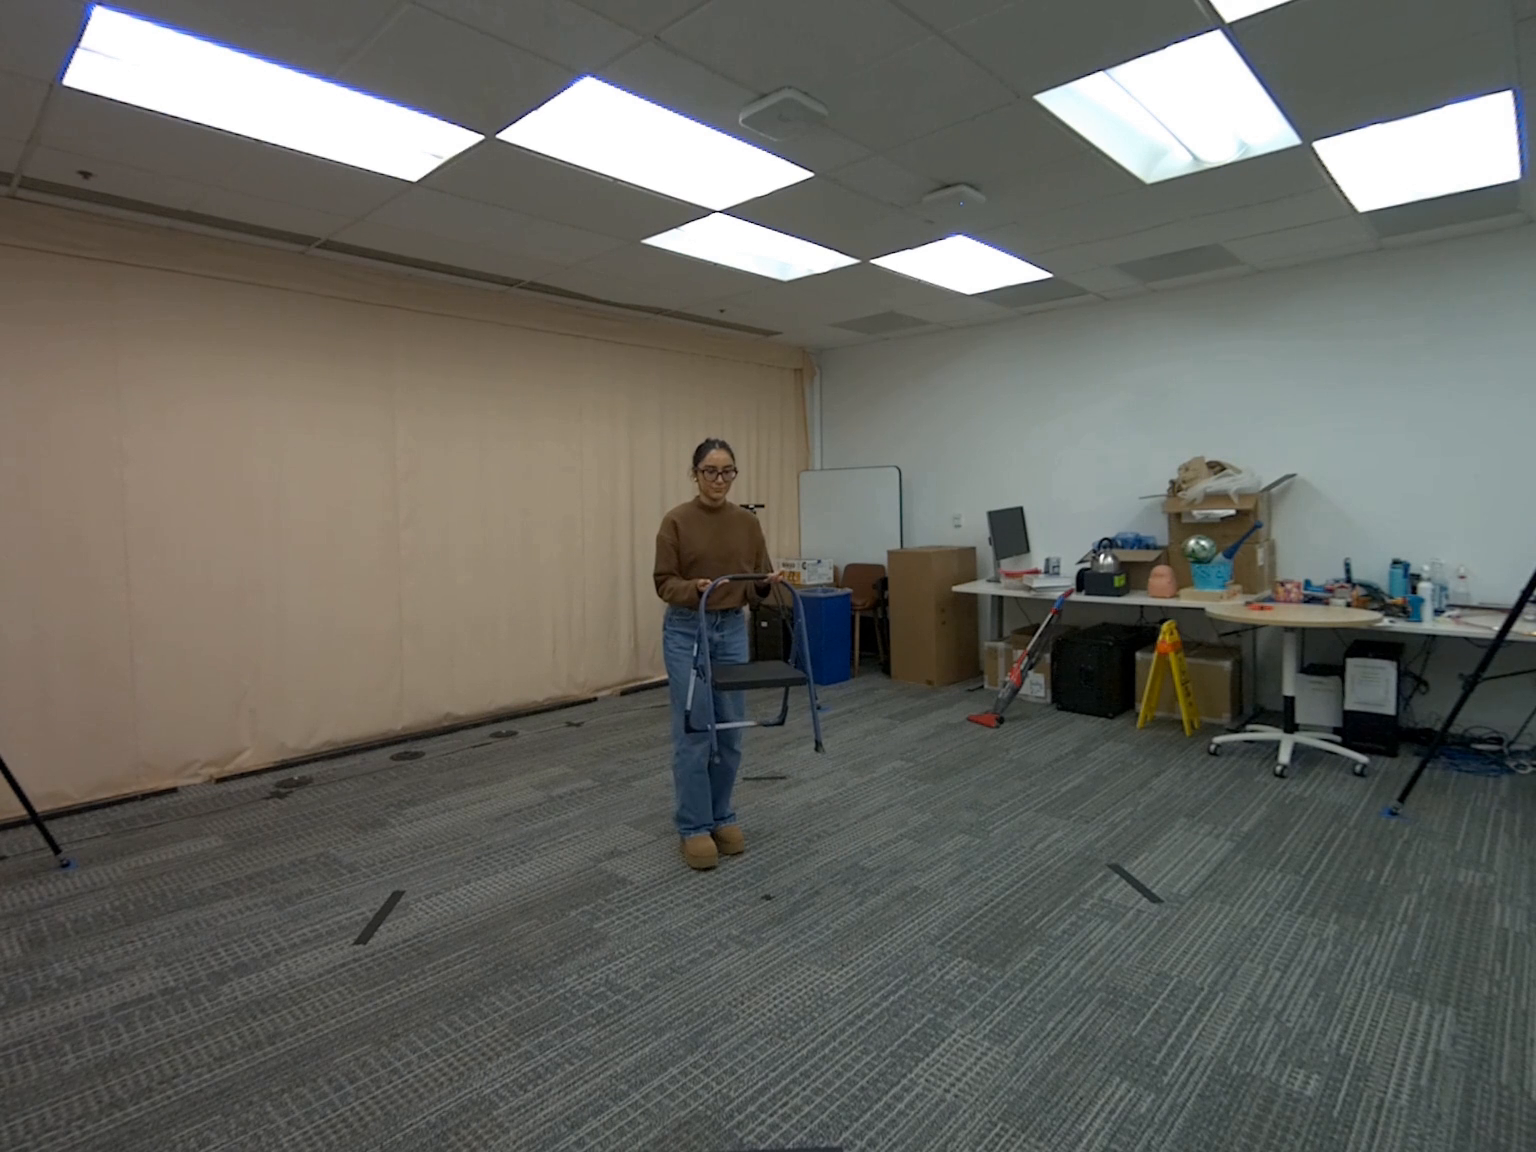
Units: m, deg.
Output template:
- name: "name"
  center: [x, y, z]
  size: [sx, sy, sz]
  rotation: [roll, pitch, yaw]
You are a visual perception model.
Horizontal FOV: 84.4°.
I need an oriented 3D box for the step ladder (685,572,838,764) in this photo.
- name: "step ladder"
  center: [-0.043, 0.308, 3.048]
  size: [0.421, 0.604, 0.358]
  rotation: [0, 6, -23]
